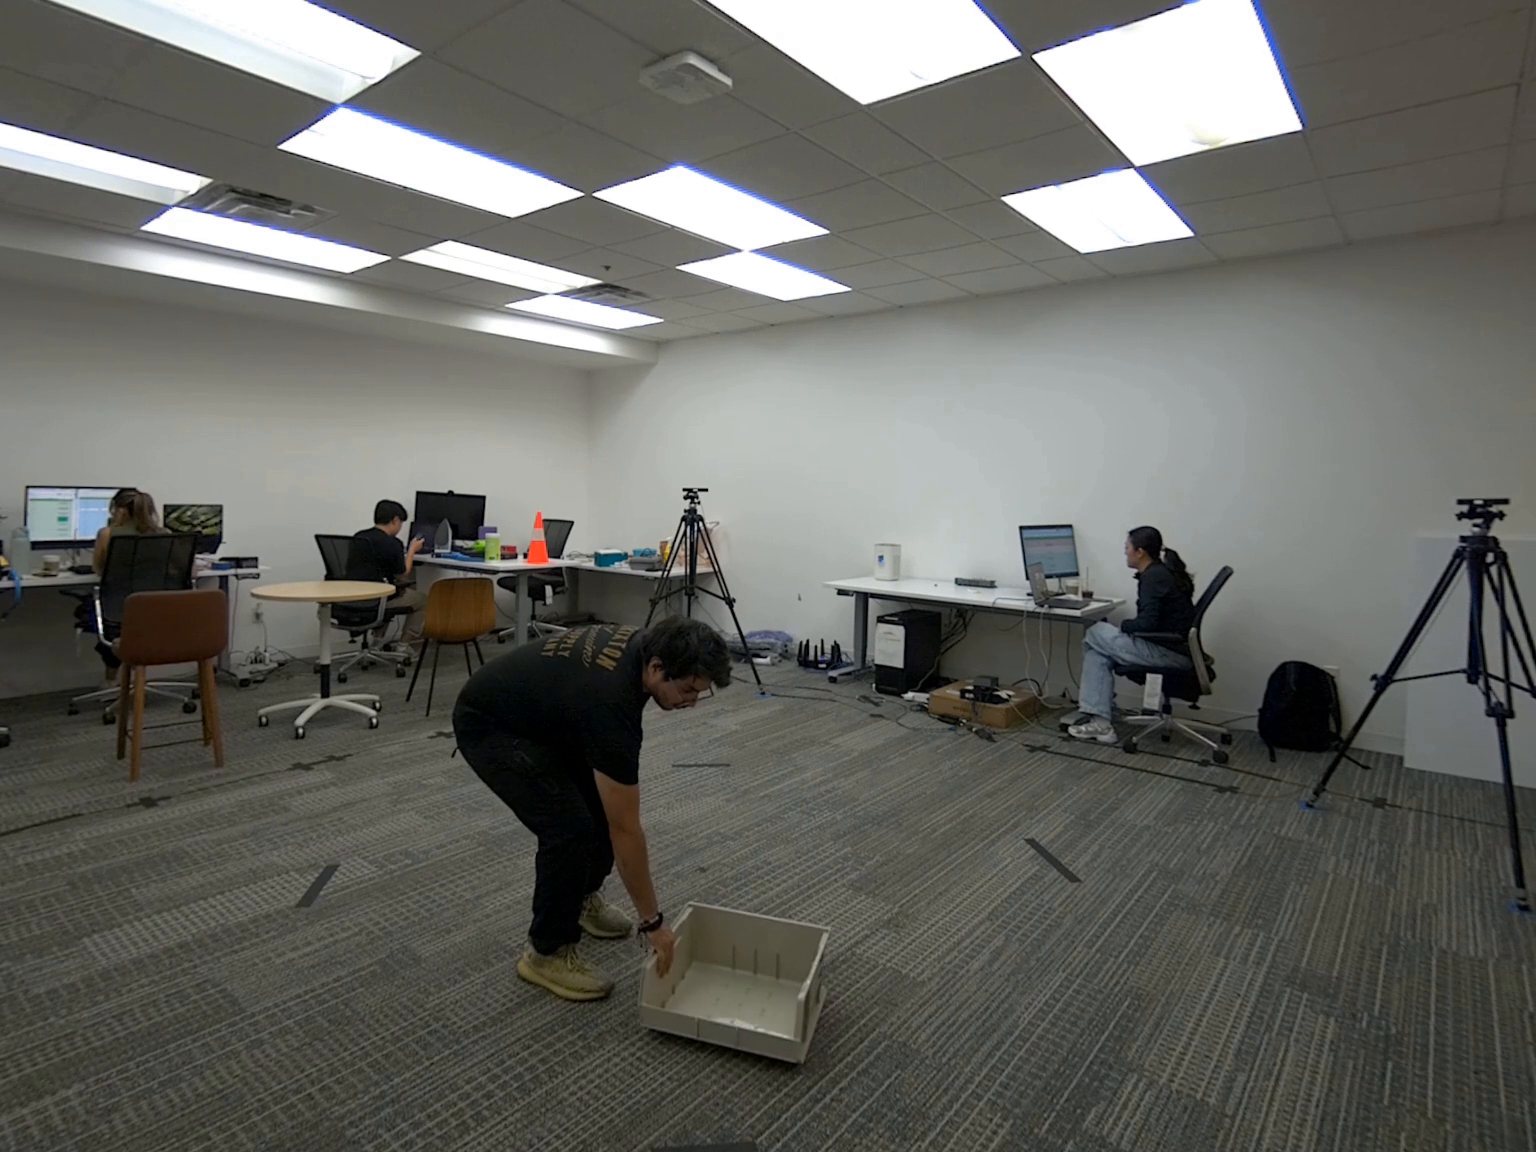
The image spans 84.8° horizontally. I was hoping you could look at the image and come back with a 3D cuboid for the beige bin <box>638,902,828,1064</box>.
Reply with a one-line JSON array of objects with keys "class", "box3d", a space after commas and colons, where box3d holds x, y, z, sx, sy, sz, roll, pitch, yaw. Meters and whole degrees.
[{"class": "beige bin", "box3d": [-0.078, 1.069, 2.248, 0.430, 0.188, 0.372, 2, 4, 16]}]
